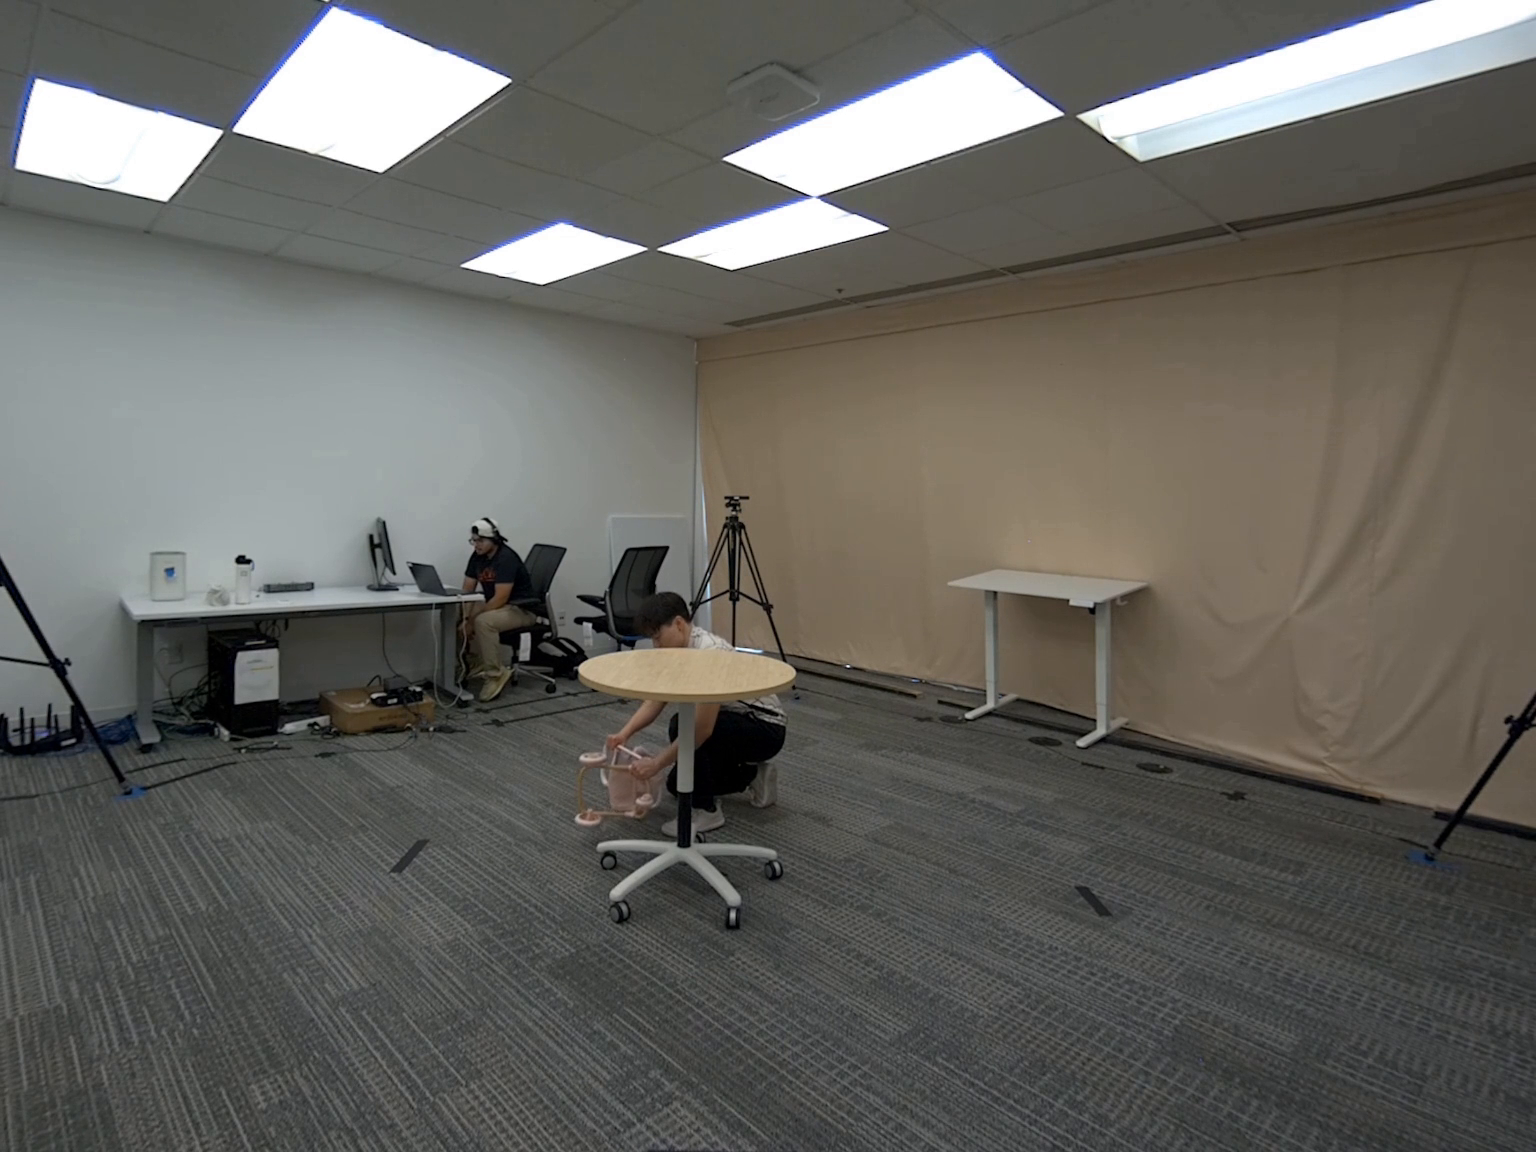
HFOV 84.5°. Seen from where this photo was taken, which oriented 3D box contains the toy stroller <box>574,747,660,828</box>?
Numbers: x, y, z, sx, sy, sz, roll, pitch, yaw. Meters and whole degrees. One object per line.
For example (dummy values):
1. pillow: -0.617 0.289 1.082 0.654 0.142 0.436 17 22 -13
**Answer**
1. toy stroller: -0.599 0.847 3.483 0.343 0.281 0.533 1 3 6
